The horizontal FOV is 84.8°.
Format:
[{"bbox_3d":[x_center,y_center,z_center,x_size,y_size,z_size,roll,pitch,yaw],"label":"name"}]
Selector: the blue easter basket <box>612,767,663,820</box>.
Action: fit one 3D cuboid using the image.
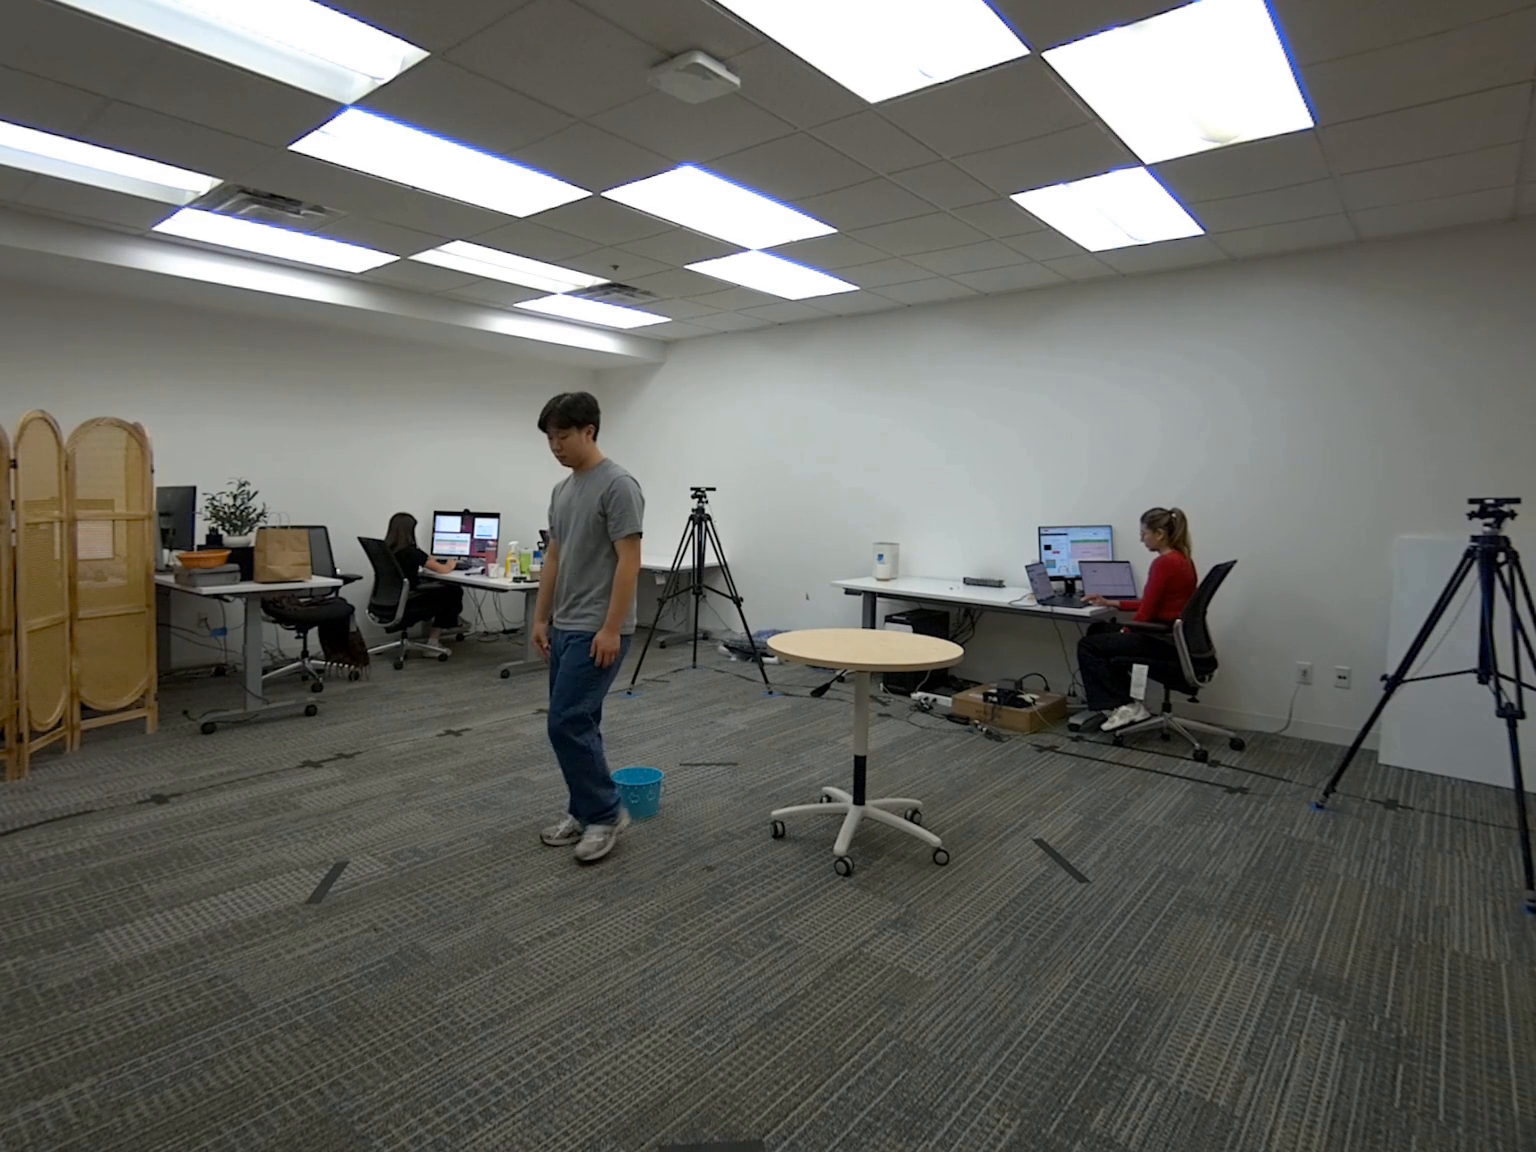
[{"bbox_3d":[-0.568,0.925,3.663,0.243,0.155,0.245,0,5,-2],"label":"blue easter basket"}]
